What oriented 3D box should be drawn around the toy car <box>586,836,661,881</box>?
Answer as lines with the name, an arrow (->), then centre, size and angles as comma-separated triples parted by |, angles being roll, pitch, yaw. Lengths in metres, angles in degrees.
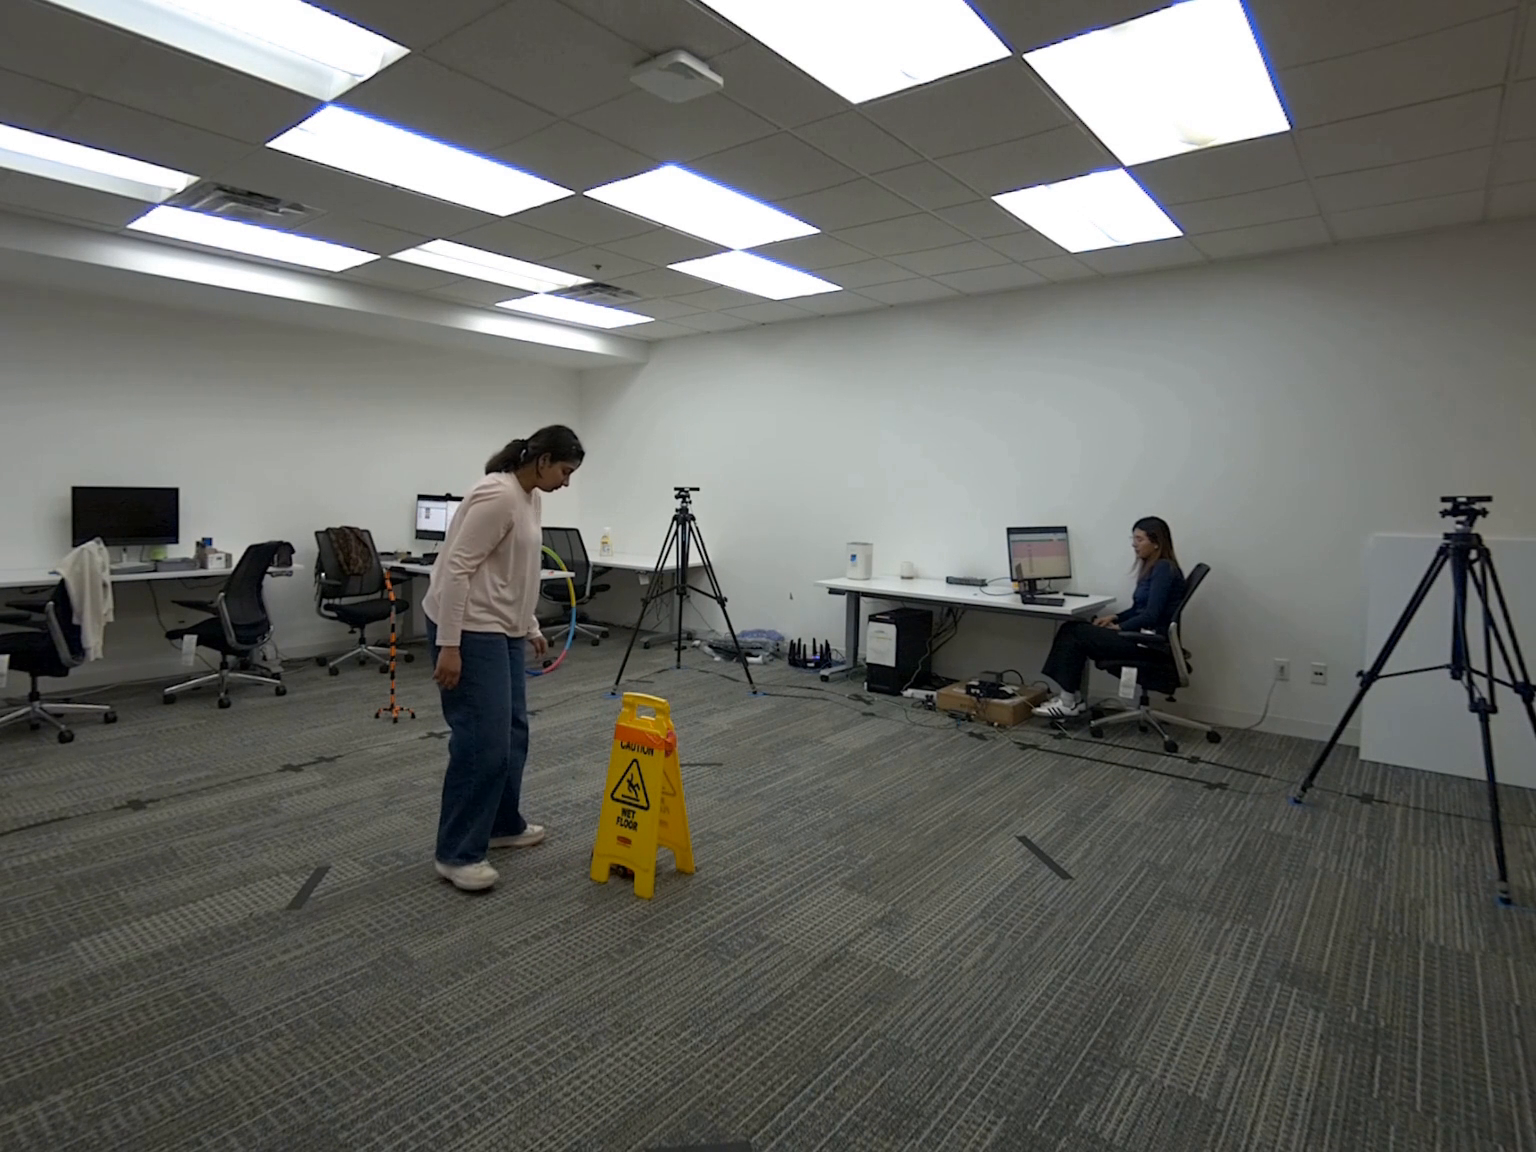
toy car -> -0.535, 1.032, 3.091 | 0.262, 0.083, 0.126 | -5, -2, 41
